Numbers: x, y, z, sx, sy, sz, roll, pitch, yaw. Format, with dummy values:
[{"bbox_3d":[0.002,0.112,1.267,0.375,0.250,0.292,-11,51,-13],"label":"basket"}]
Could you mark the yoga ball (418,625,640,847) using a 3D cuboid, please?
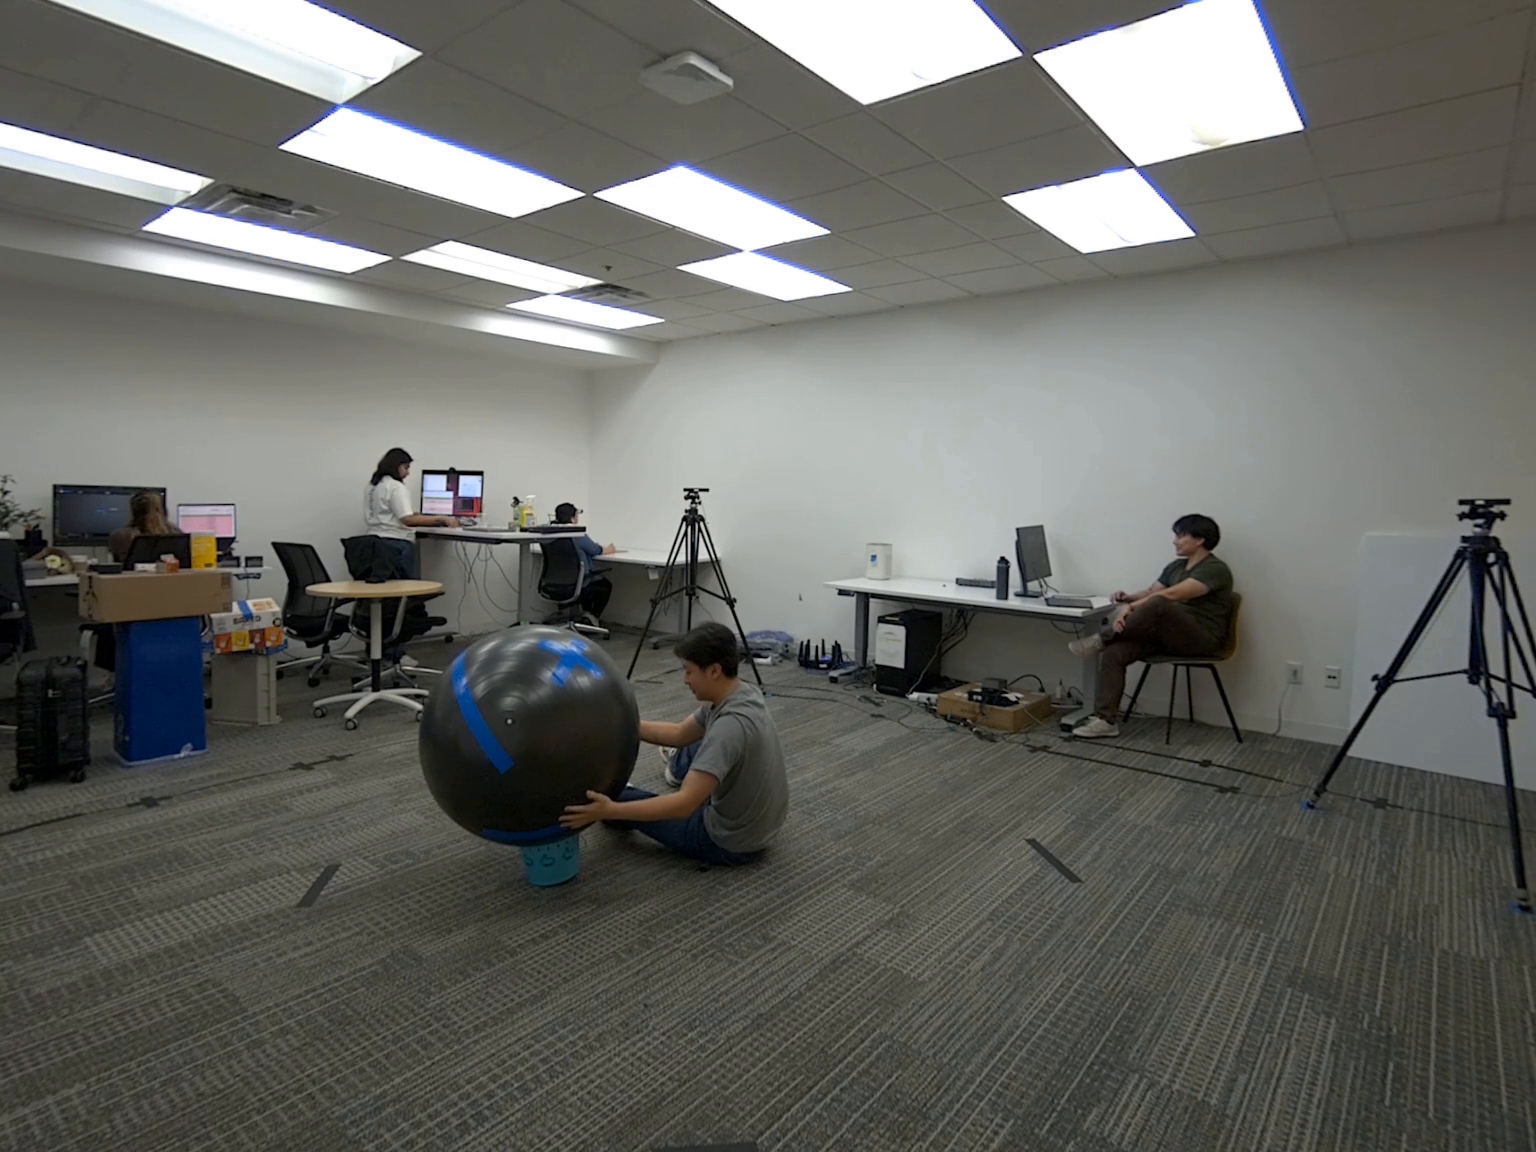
[{"bbox_3d":[-0.852,0.553,3.002,0.757,0.756,0.761,1,4,-2],"label":"yoga ball"}]
